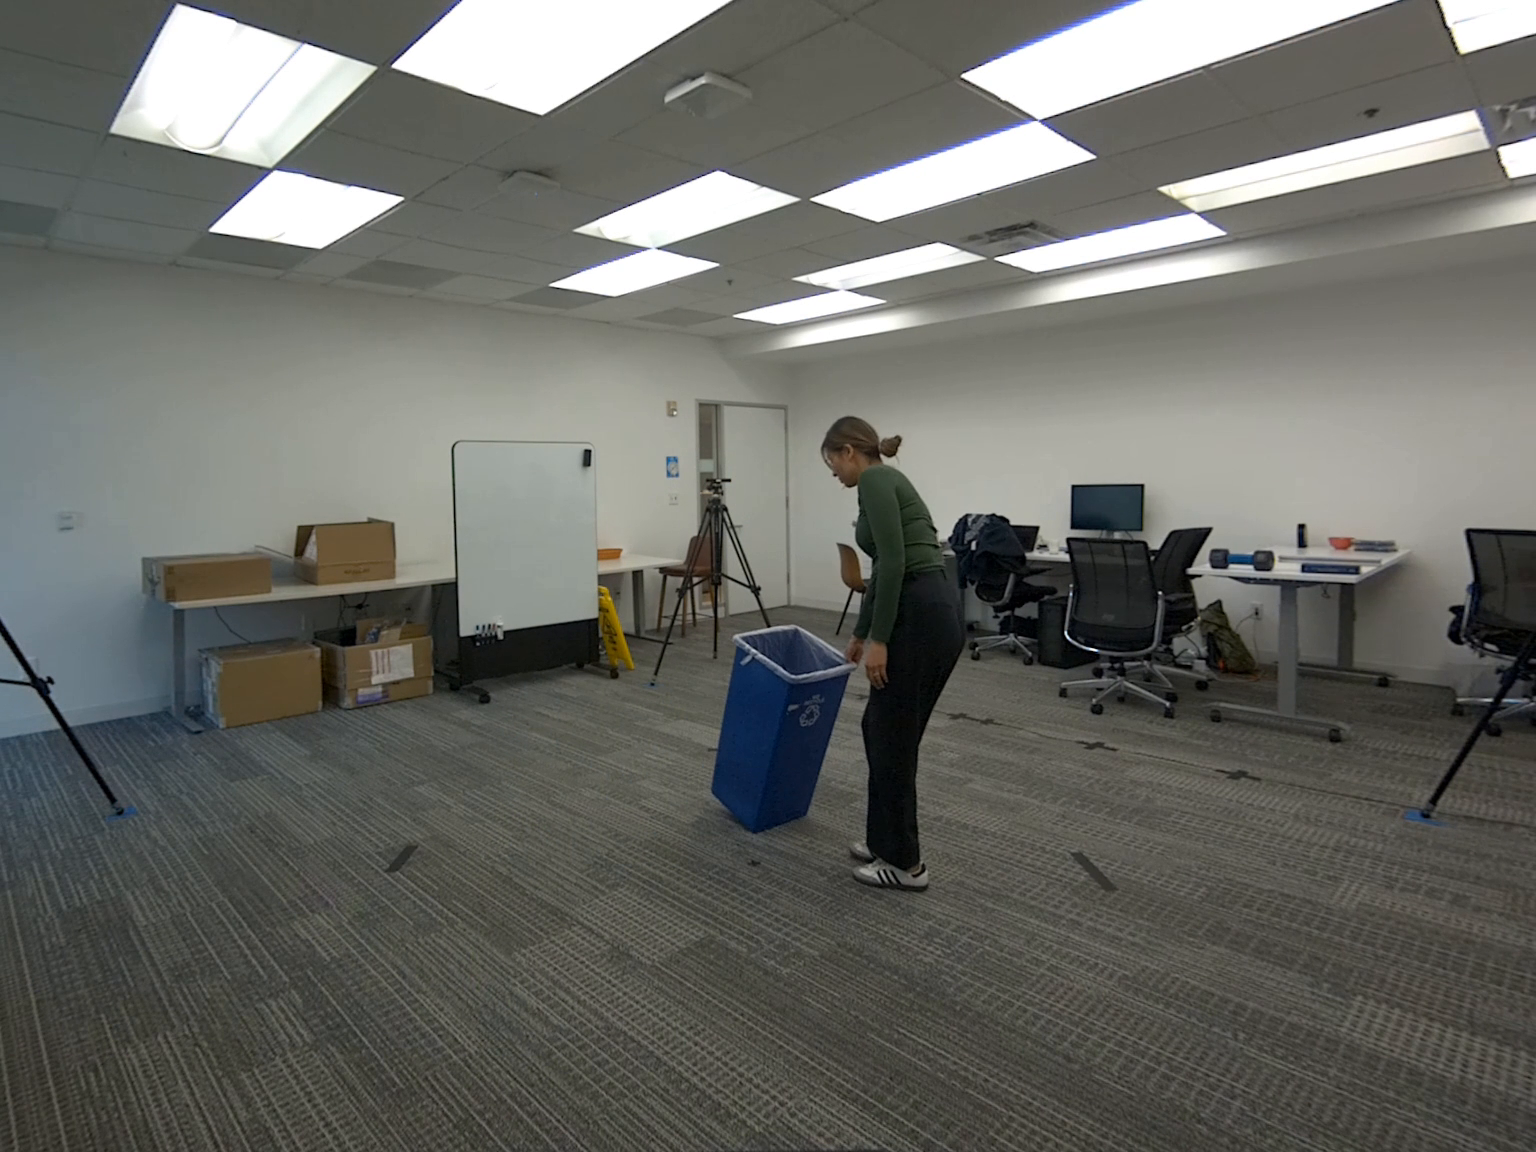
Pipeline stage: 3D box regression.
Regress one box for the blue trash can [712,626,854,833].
[{"bbox_3d":[0.026,0.616,3.456,0.368,0.705,0.389,-4,25,-42],"label":"blue trash can"}]
